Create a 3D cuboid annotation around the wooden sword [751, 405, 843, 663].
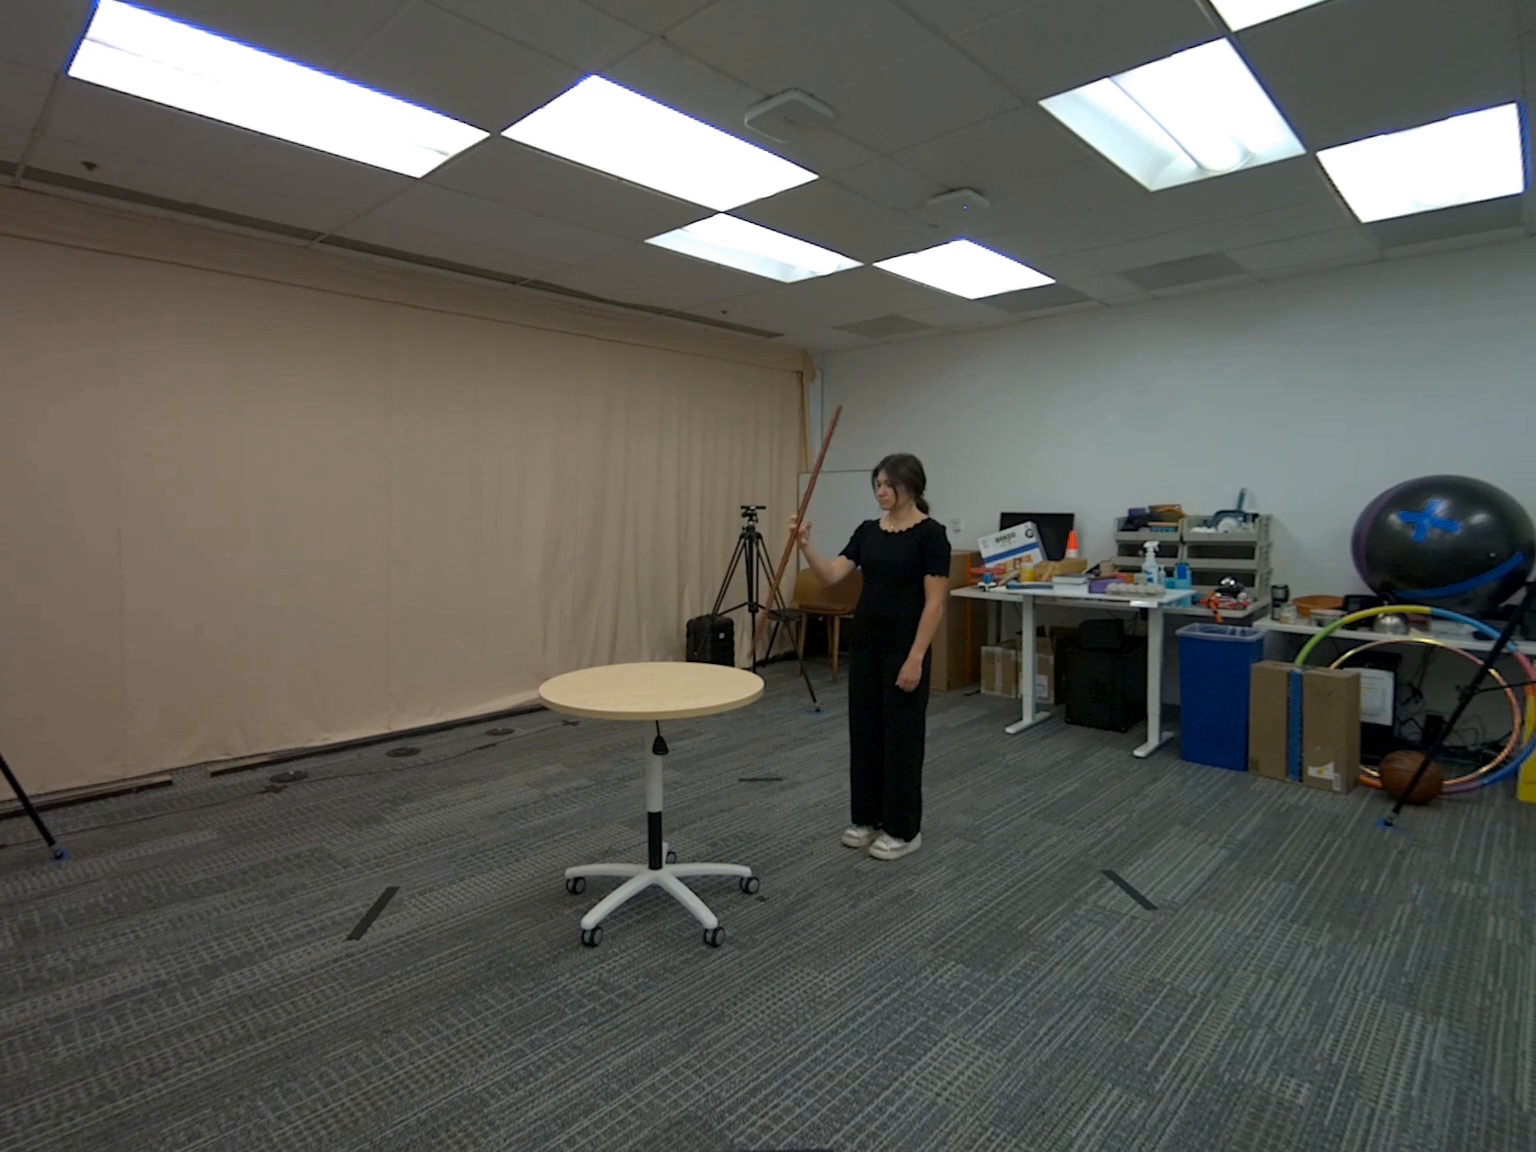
[{"bbox_3d":[0.116,-0.198,3.239,0.052,1.025,0.023,17,-1,17],"label":"wooden sword"}]
